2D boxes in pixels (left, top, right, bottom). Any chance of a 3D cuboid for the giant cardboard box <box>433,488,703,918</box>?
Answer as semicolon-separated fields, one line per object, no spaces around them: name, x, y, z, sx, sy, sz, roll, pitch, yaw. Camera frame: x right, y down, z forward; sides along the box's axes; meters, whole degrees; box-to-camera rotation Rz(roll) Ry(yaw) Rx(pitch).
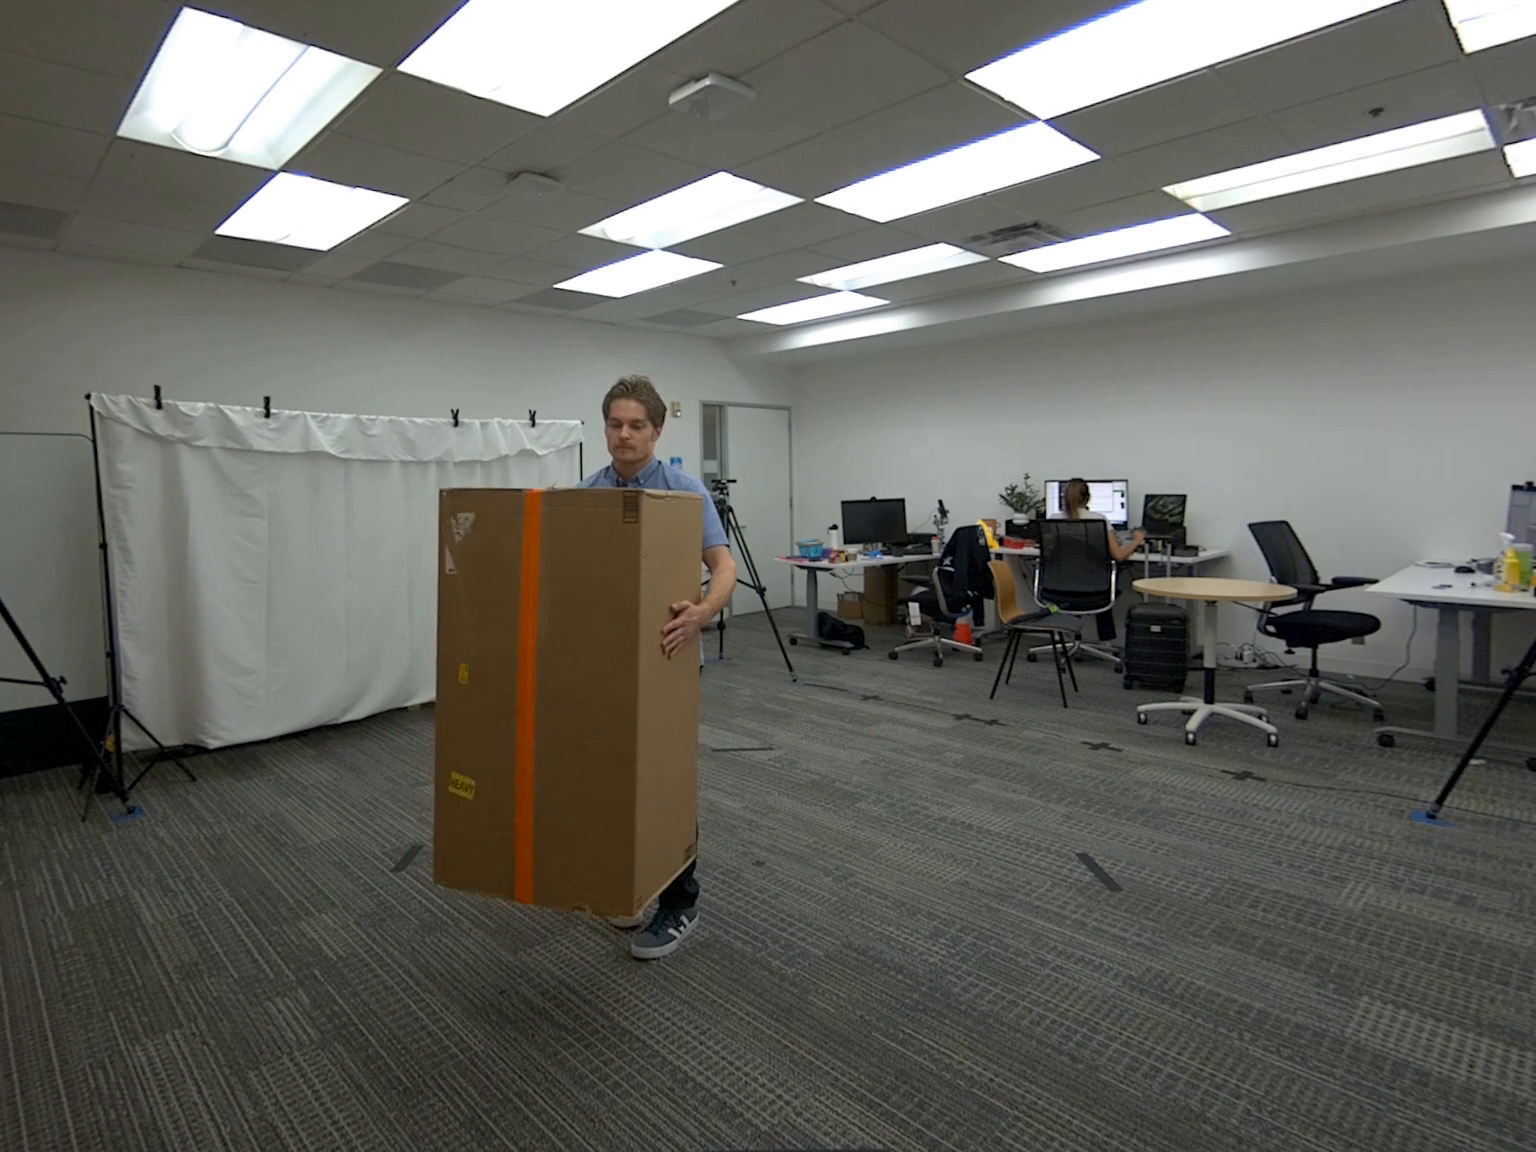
giant cardboard box;-0.520;0.288;2.291;0.588;1.025;0.419;1;1;19
